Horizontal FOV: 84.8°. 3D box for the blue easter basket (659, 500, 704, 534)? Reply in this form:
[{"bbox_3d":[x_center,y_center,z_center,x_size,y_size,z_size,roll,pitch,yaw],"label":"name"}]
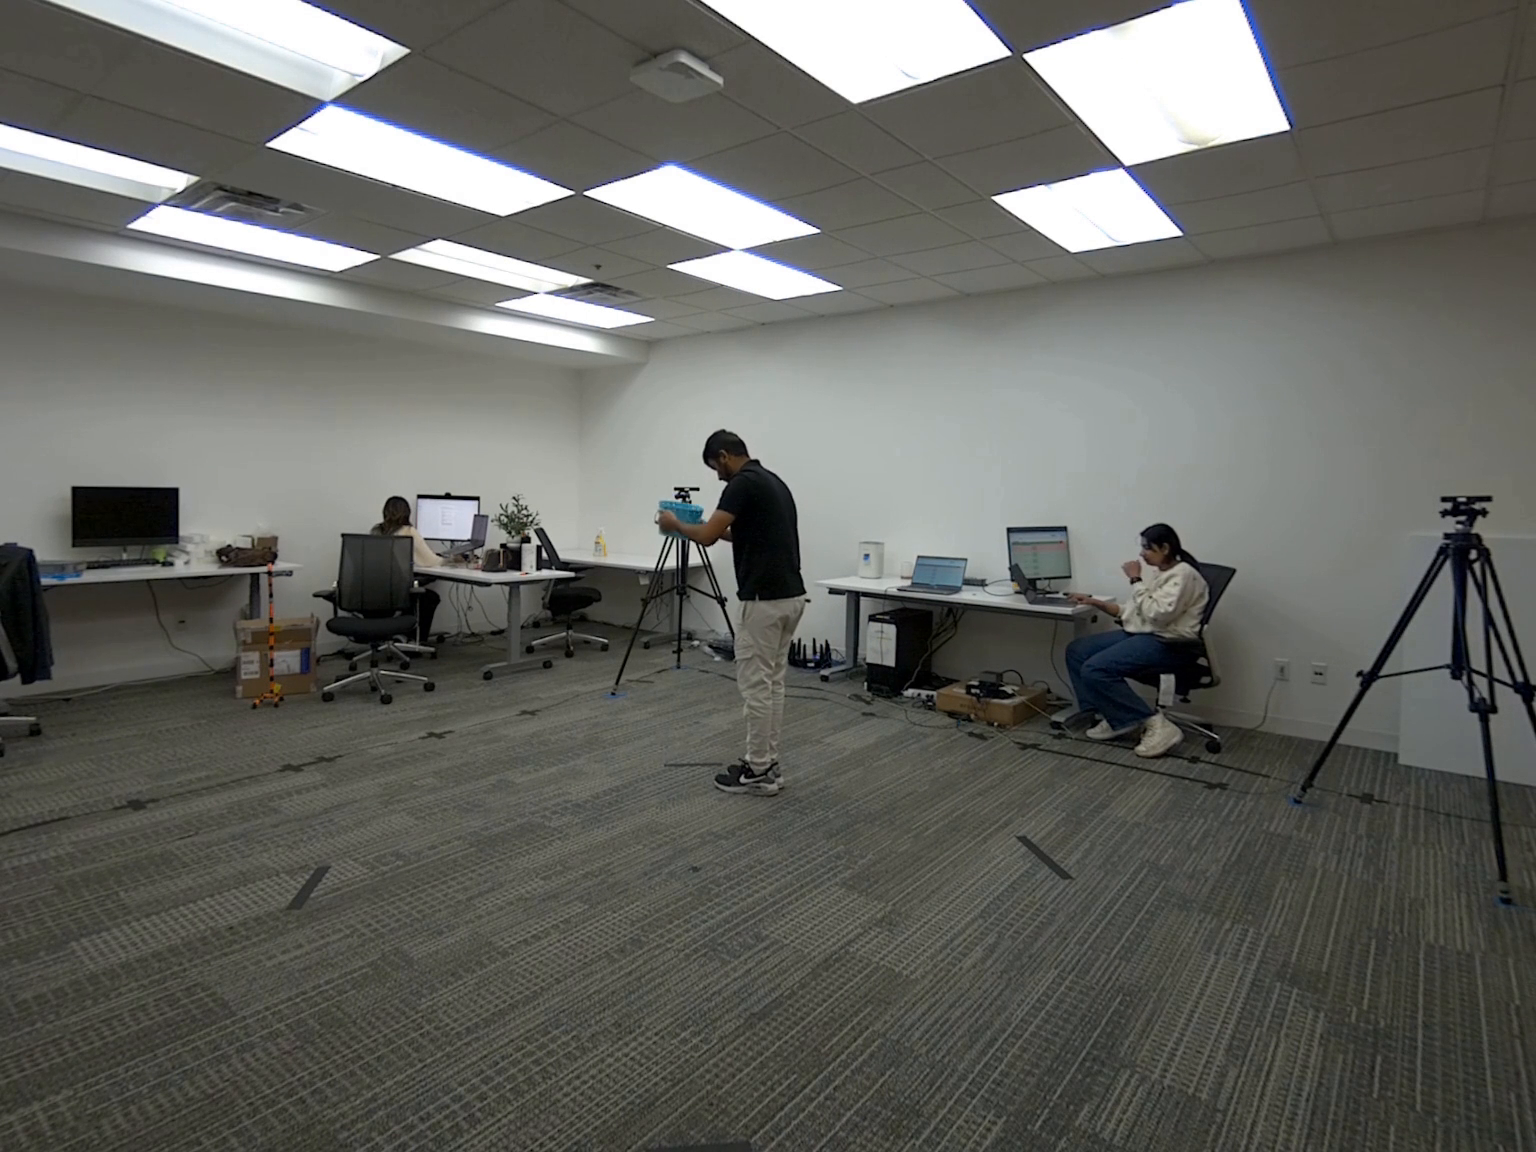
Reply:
[{"bbox_3d":[-0.429,-0.276,4.158,0.243,0.155,0.246,7,8,-3],"label":"blue easter basket"}]
